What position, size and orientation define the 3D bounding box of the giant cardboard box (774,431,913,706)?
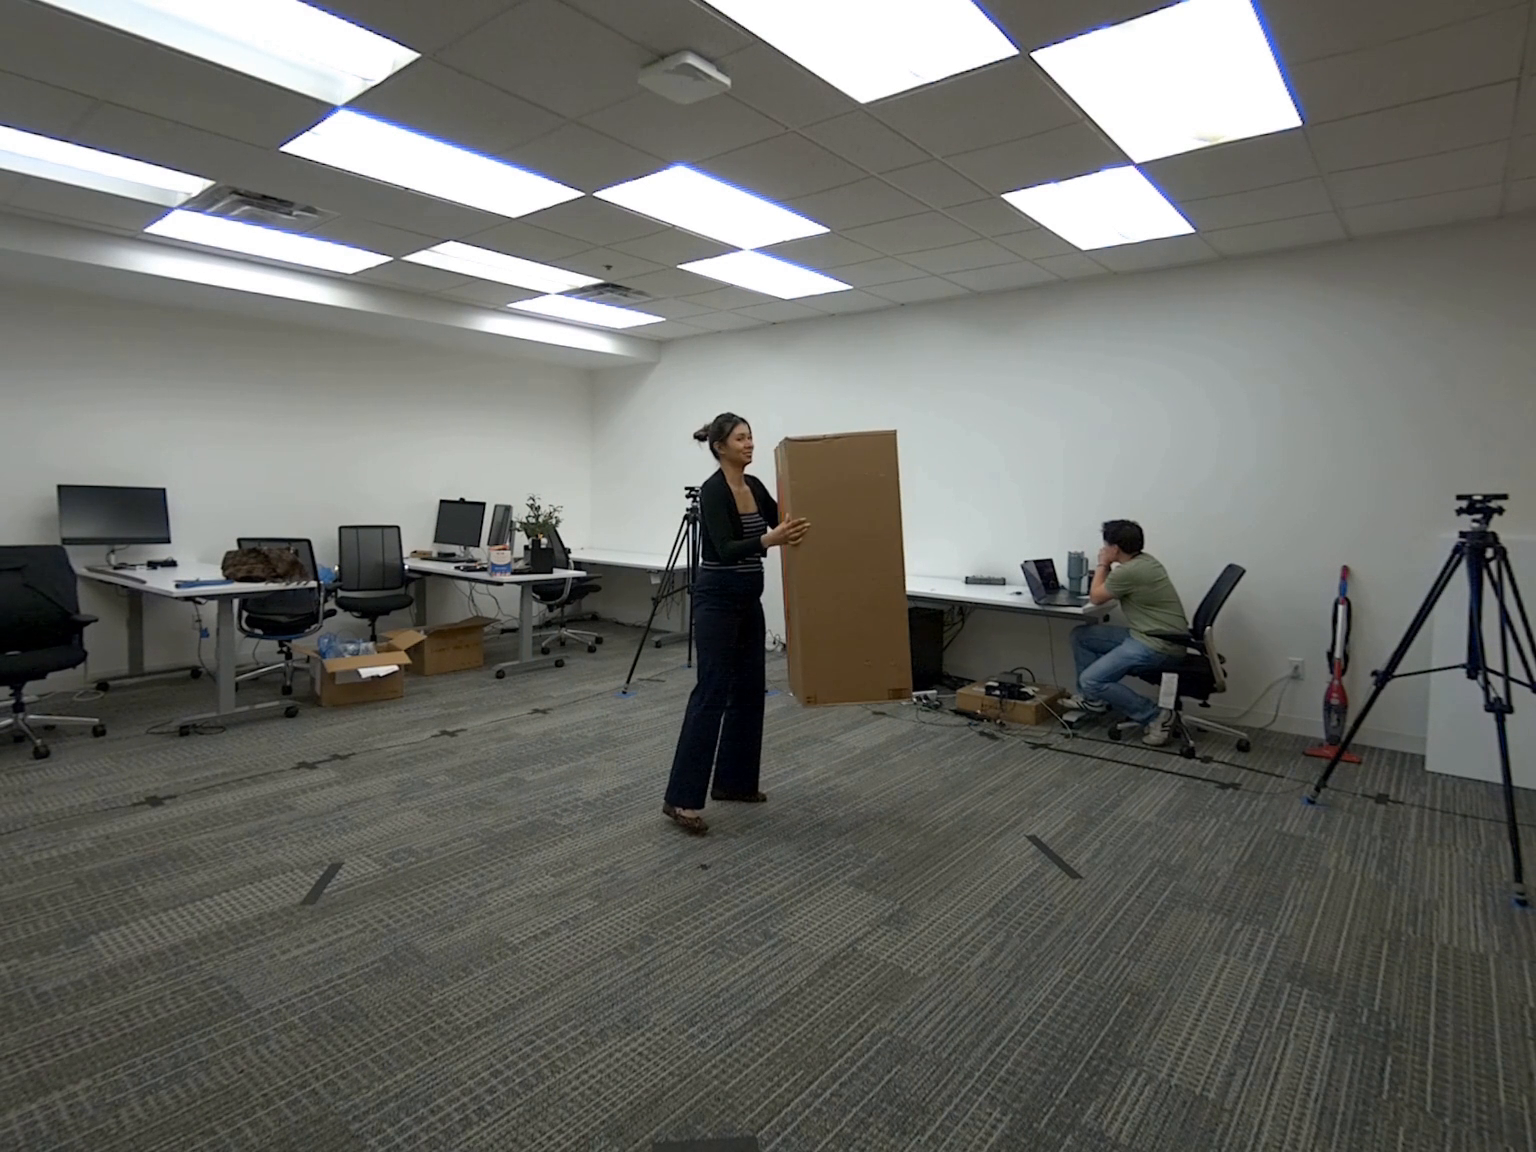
[{"bbox_3d":[0.277,-0.045,3.474,0.426,1.025,0.579,-4,2,-2],"label":"giant cardboard box"}]
